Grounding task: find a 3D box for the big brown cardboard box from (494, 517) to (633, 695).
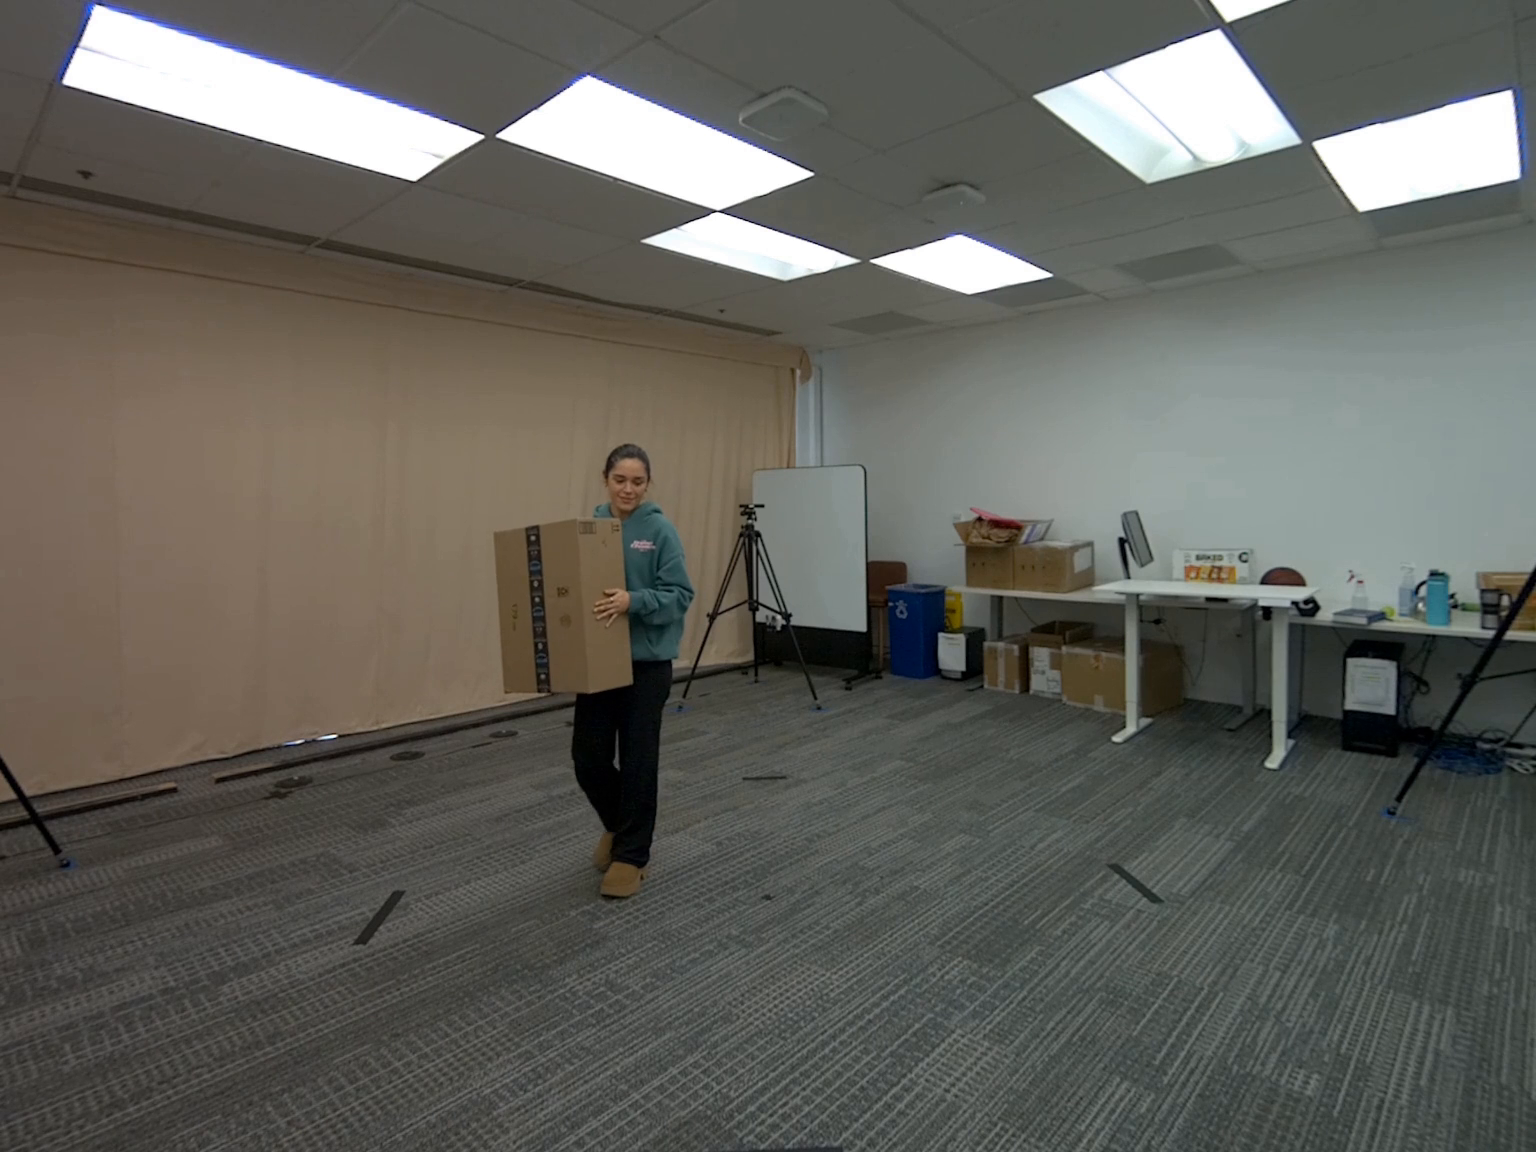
[{"bbox_3d":[-0.704,0.114,2.911,0.429,0.589,0.226,-5,-1,34],"label":"big brown cardboard box"}]
